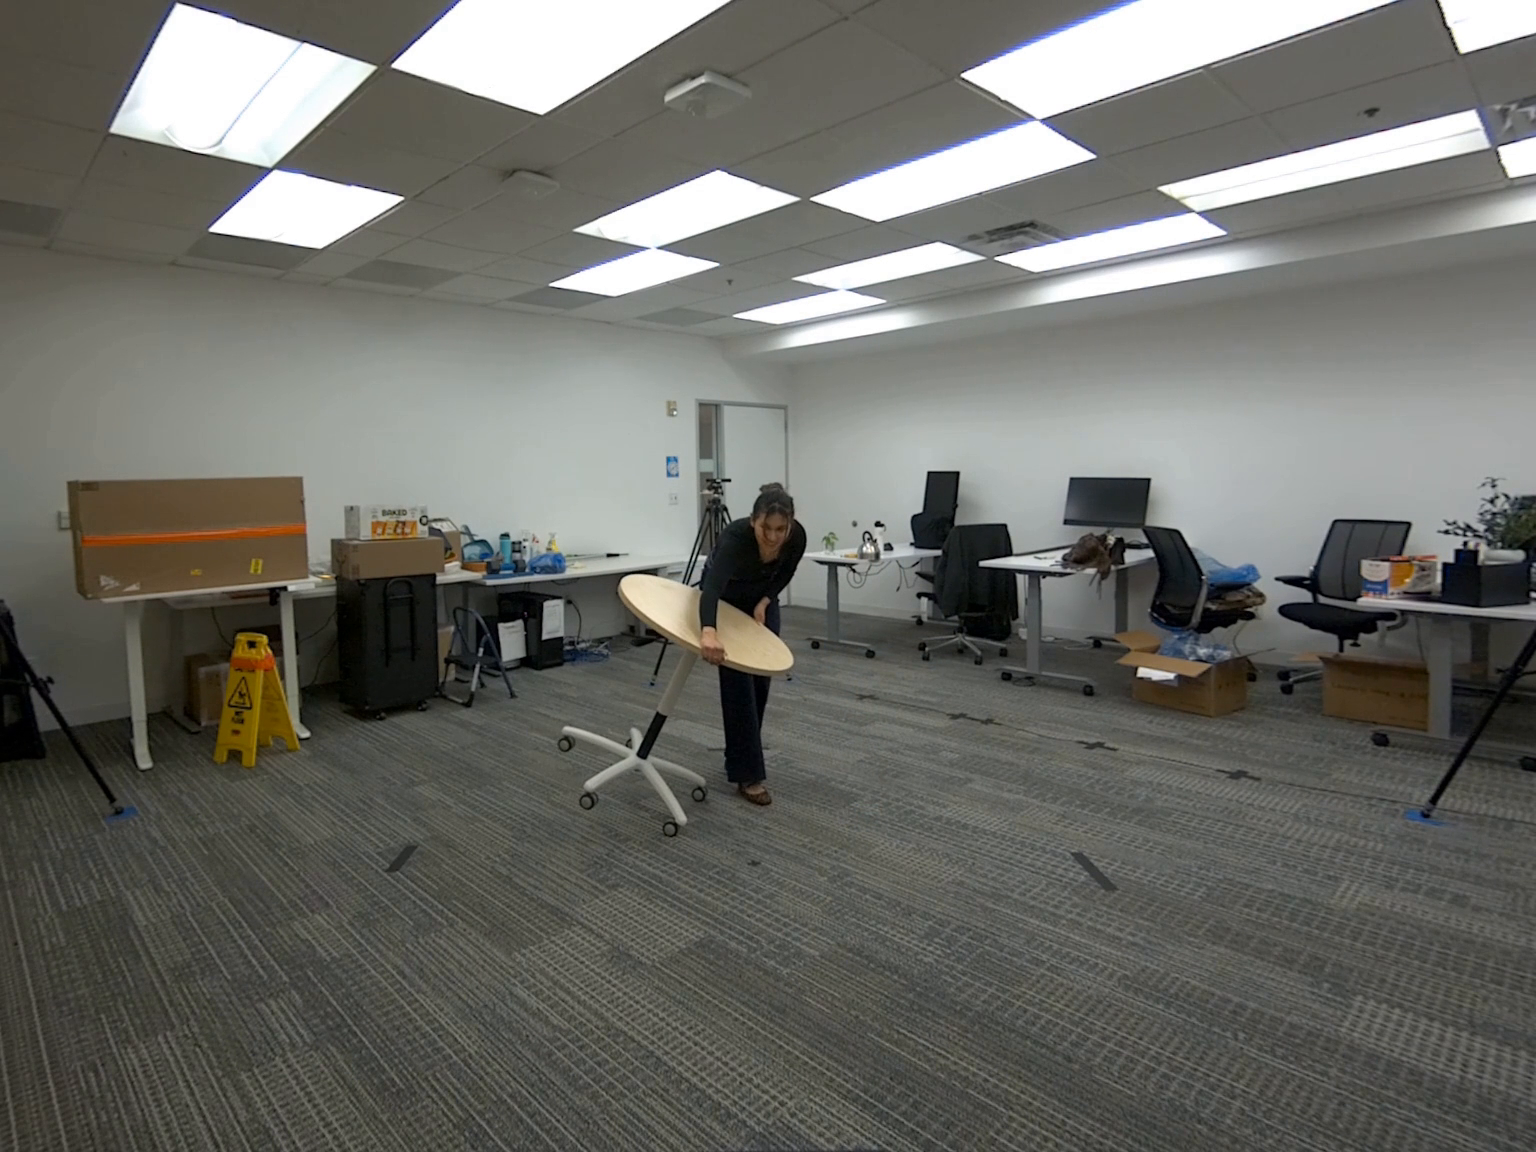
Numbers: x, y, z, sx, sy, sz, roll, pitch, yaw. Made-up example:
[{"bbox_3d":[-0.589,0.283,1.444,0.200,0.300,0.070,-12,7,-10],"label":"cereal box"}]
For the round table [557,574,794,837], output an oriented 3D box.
[{"bbox_3d":[-0.423,0.526,3.513,0.759,0.790,0.773,24,11,-7],"label":"round table"}]
